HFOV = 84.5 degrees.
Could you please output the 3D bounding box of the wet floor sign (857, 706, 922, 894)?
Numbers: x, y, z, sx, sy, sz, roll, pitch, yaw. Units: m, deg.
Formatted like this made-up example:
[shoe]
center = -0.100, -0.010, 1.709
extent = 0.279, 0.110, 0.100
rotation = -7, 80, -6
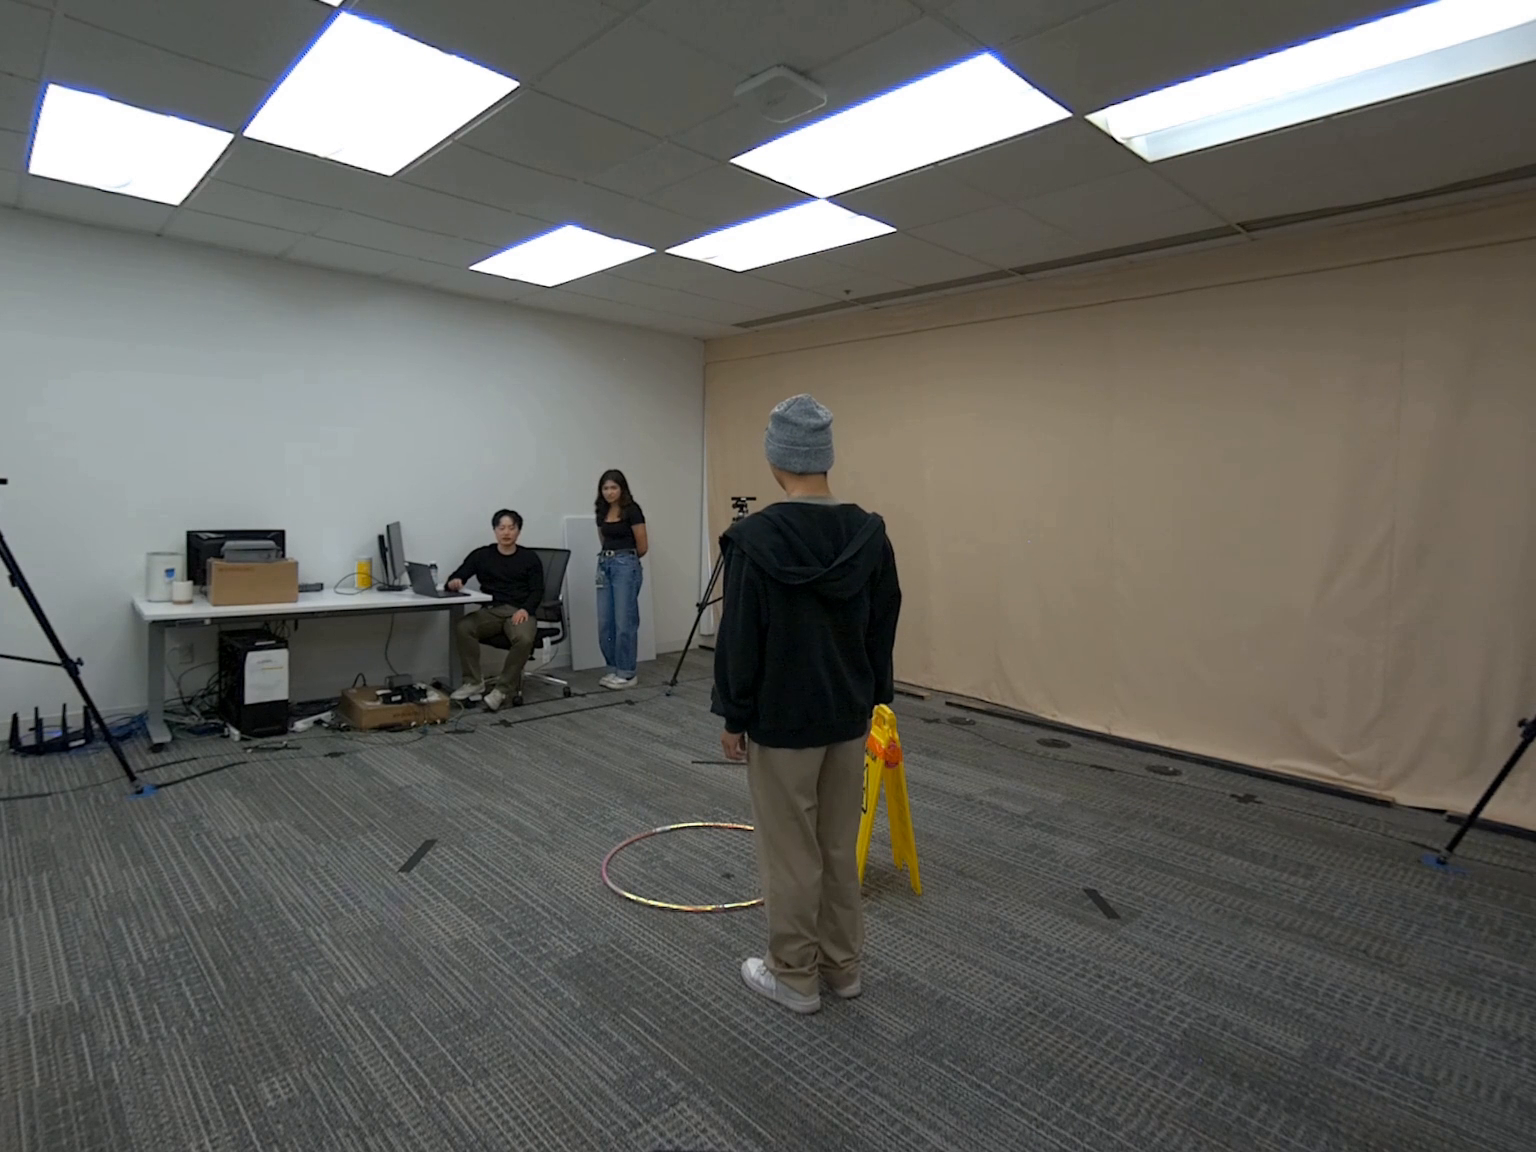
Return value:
[wet floor sign]
center = 0.407, 0.799, 3.077
extent = 0.288, 0.644, 0.285
rotation = 1, 4, -9
